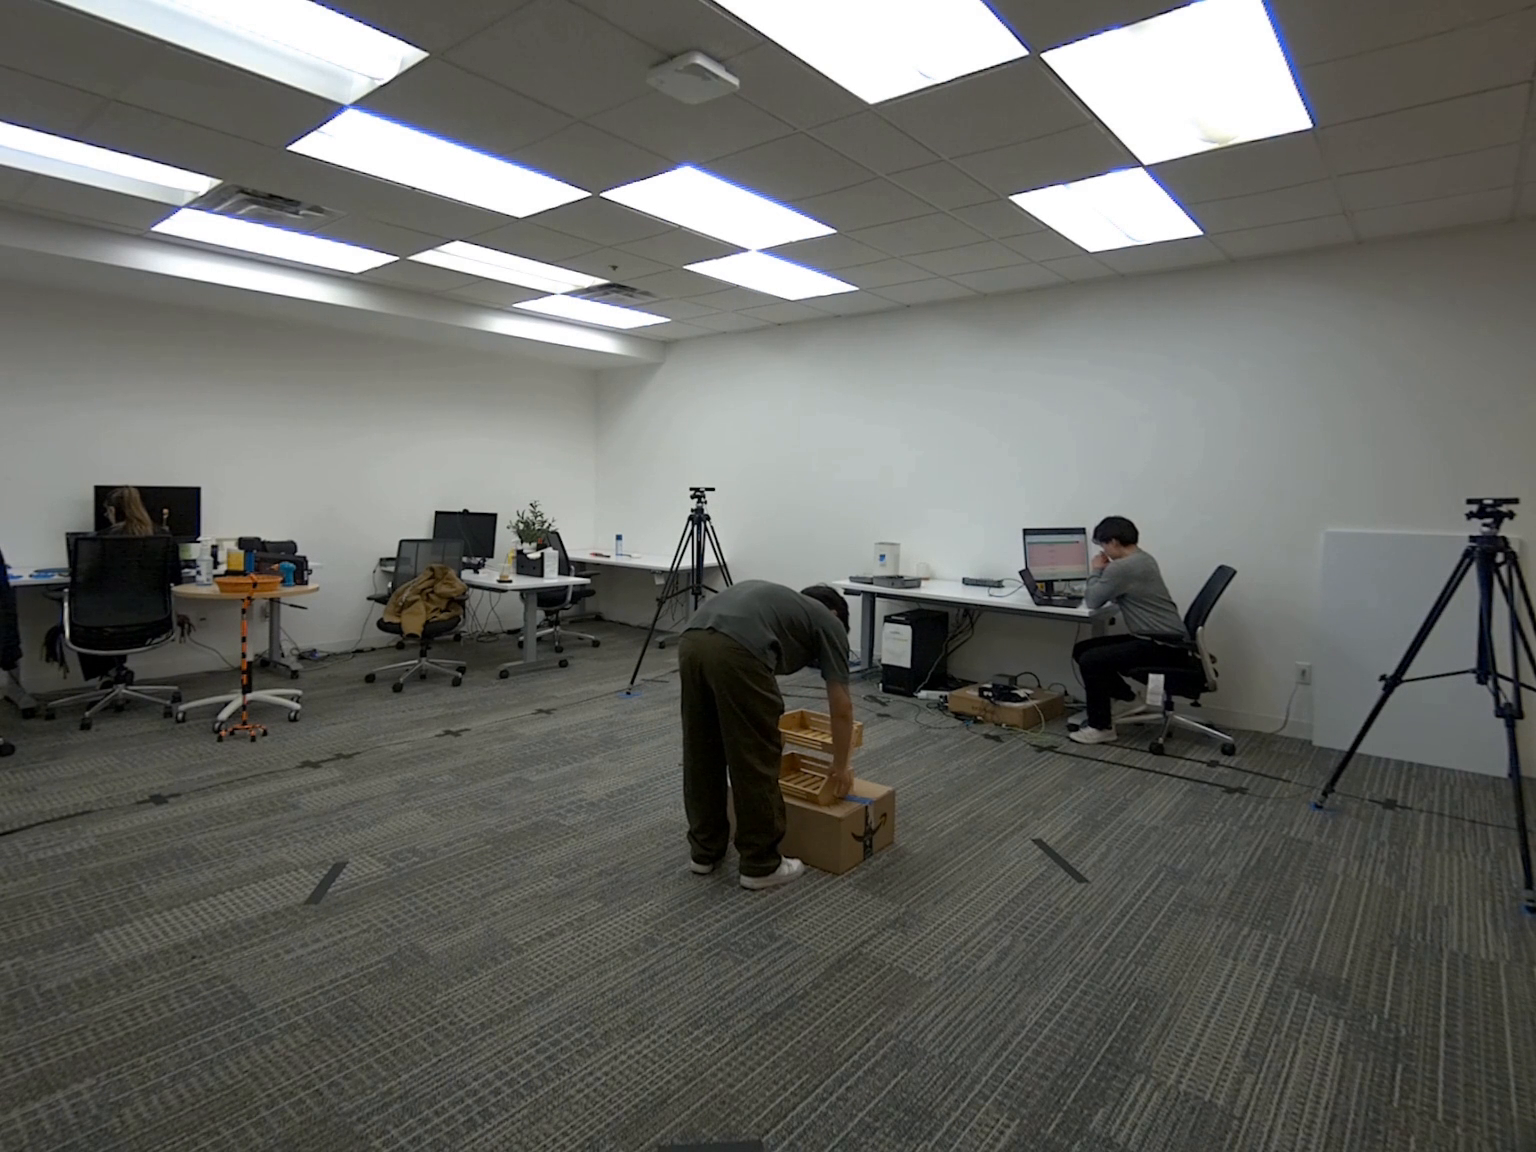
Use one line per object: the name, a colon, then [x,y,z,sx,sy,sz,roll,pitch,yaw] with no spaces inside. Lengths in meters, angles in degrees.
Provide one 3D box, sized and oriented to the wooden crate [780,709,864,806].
wooden crate: [0.157,0.702,3.384,0.335,0.272,0.293,6,5,39]
